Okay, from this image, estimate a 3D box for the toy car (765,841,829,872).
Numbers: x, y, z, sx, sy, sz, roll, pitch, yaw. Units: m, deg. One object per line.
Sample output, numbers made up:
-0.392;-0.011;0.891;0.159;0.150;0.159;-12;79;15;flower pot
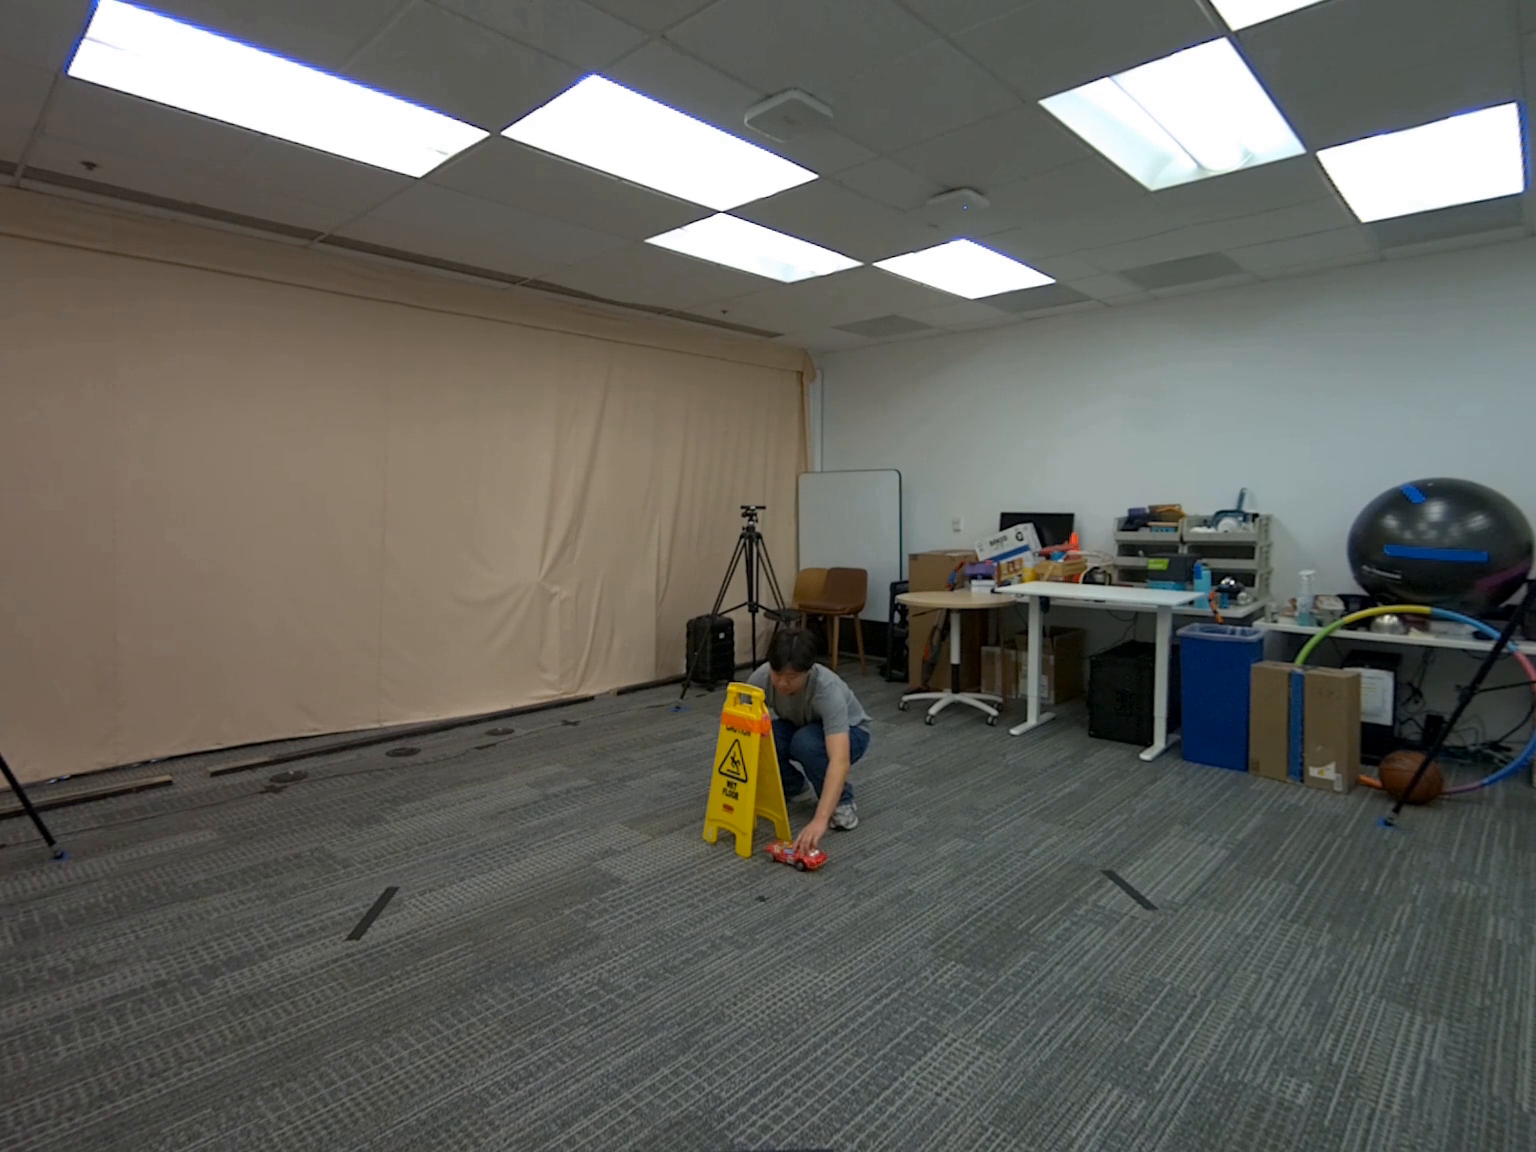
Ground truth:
0.122;1.081;3.269;0.261;0.083;0.126;-11;-3;41;toy car
